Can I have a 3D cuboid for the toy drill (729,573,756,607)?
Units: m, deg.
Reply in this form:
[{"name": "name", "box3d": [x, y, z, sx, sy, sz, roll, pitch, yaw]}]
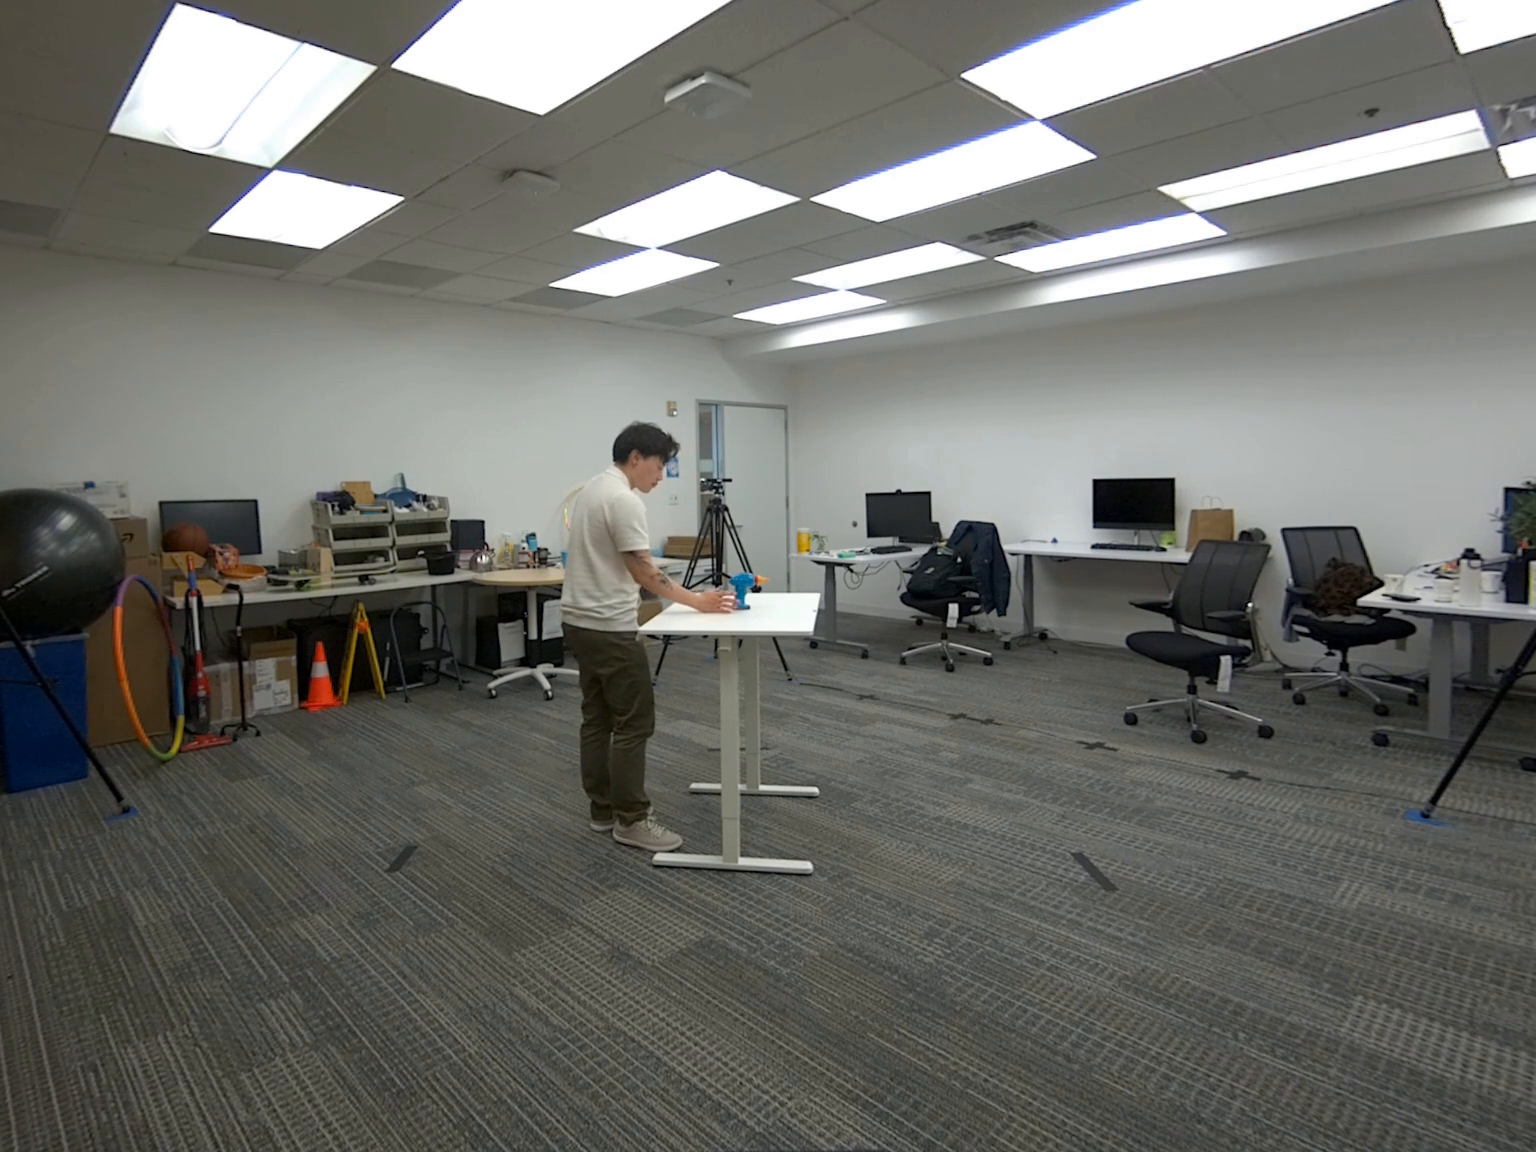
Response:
[{"name": "toy drill", "box3d": [-0.080, 0.058, 3.392, 0.167, 0.145, 0.062, -2, 6, -14]}]
